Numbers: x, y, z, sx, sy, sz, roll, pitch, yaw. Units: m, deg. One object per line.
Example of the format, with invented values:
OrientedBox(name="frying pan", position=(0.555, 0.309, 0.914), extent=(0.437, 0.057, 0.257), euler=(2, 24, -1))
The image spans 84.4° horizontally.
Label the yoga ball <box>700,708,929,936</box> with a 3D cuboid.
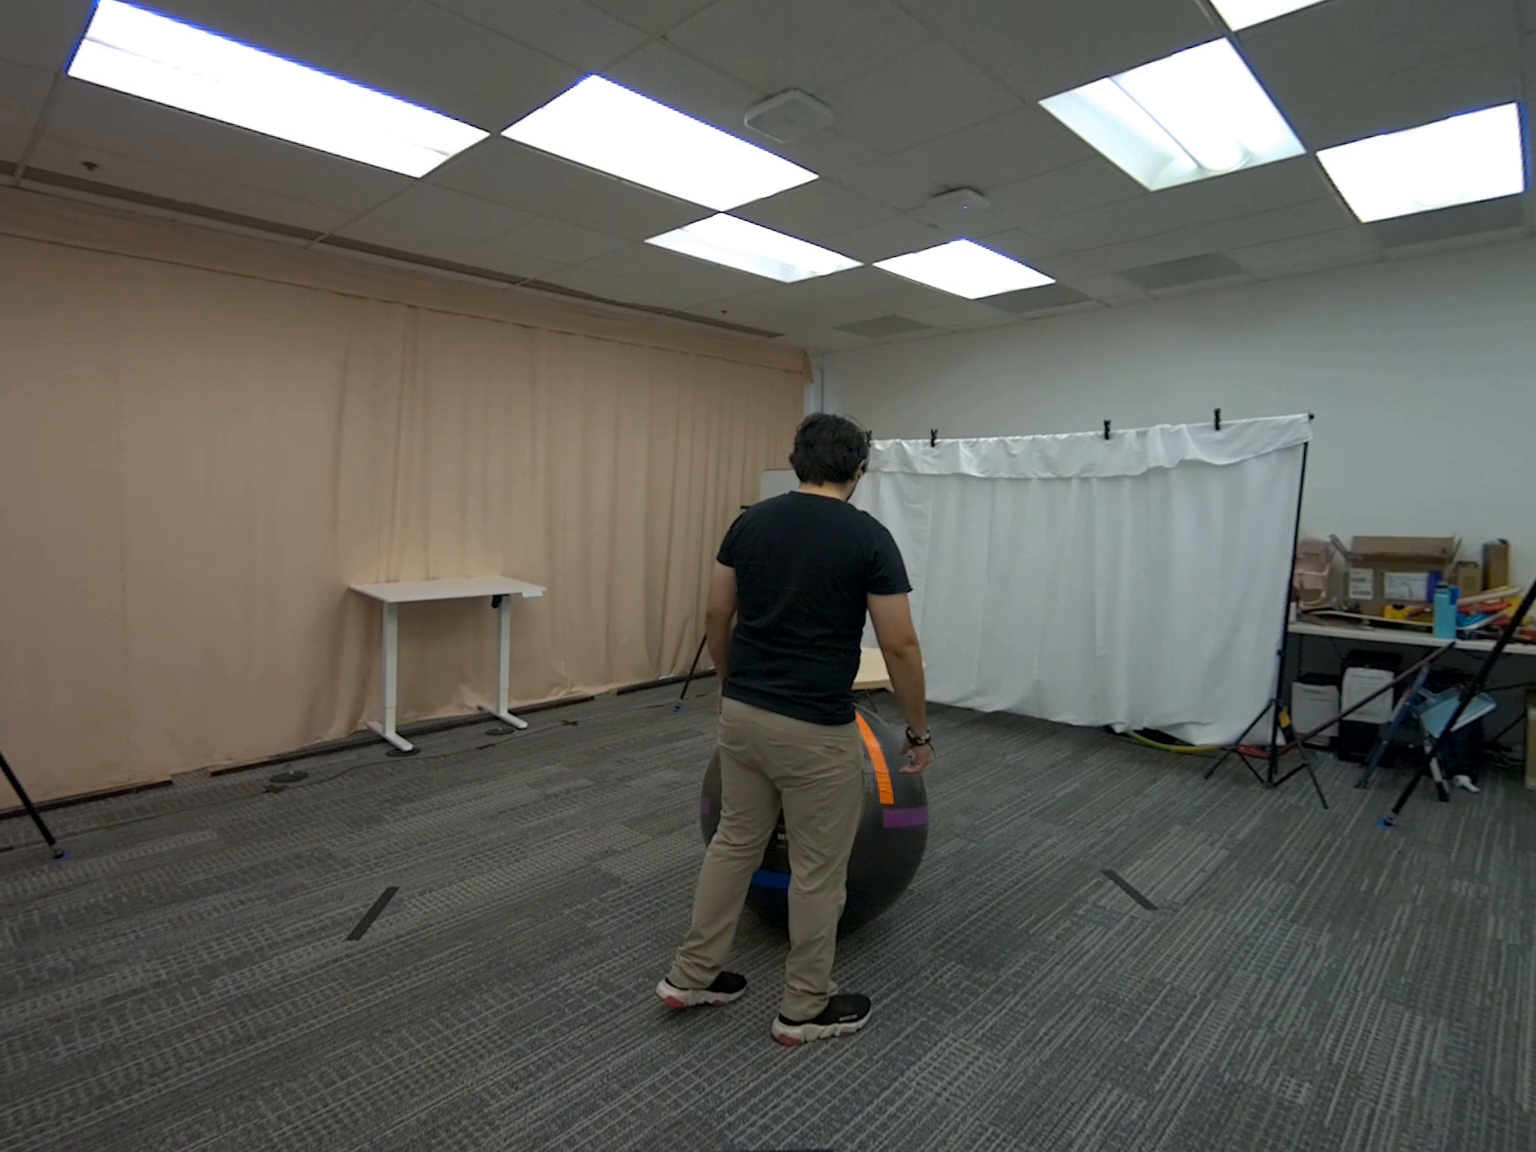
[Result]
OrientedBox(name="yoga ball", position=(0.143, 0.789, 2.826), extent=(0.757, 0.756, 0.760), euler=(0, 4, -2))
